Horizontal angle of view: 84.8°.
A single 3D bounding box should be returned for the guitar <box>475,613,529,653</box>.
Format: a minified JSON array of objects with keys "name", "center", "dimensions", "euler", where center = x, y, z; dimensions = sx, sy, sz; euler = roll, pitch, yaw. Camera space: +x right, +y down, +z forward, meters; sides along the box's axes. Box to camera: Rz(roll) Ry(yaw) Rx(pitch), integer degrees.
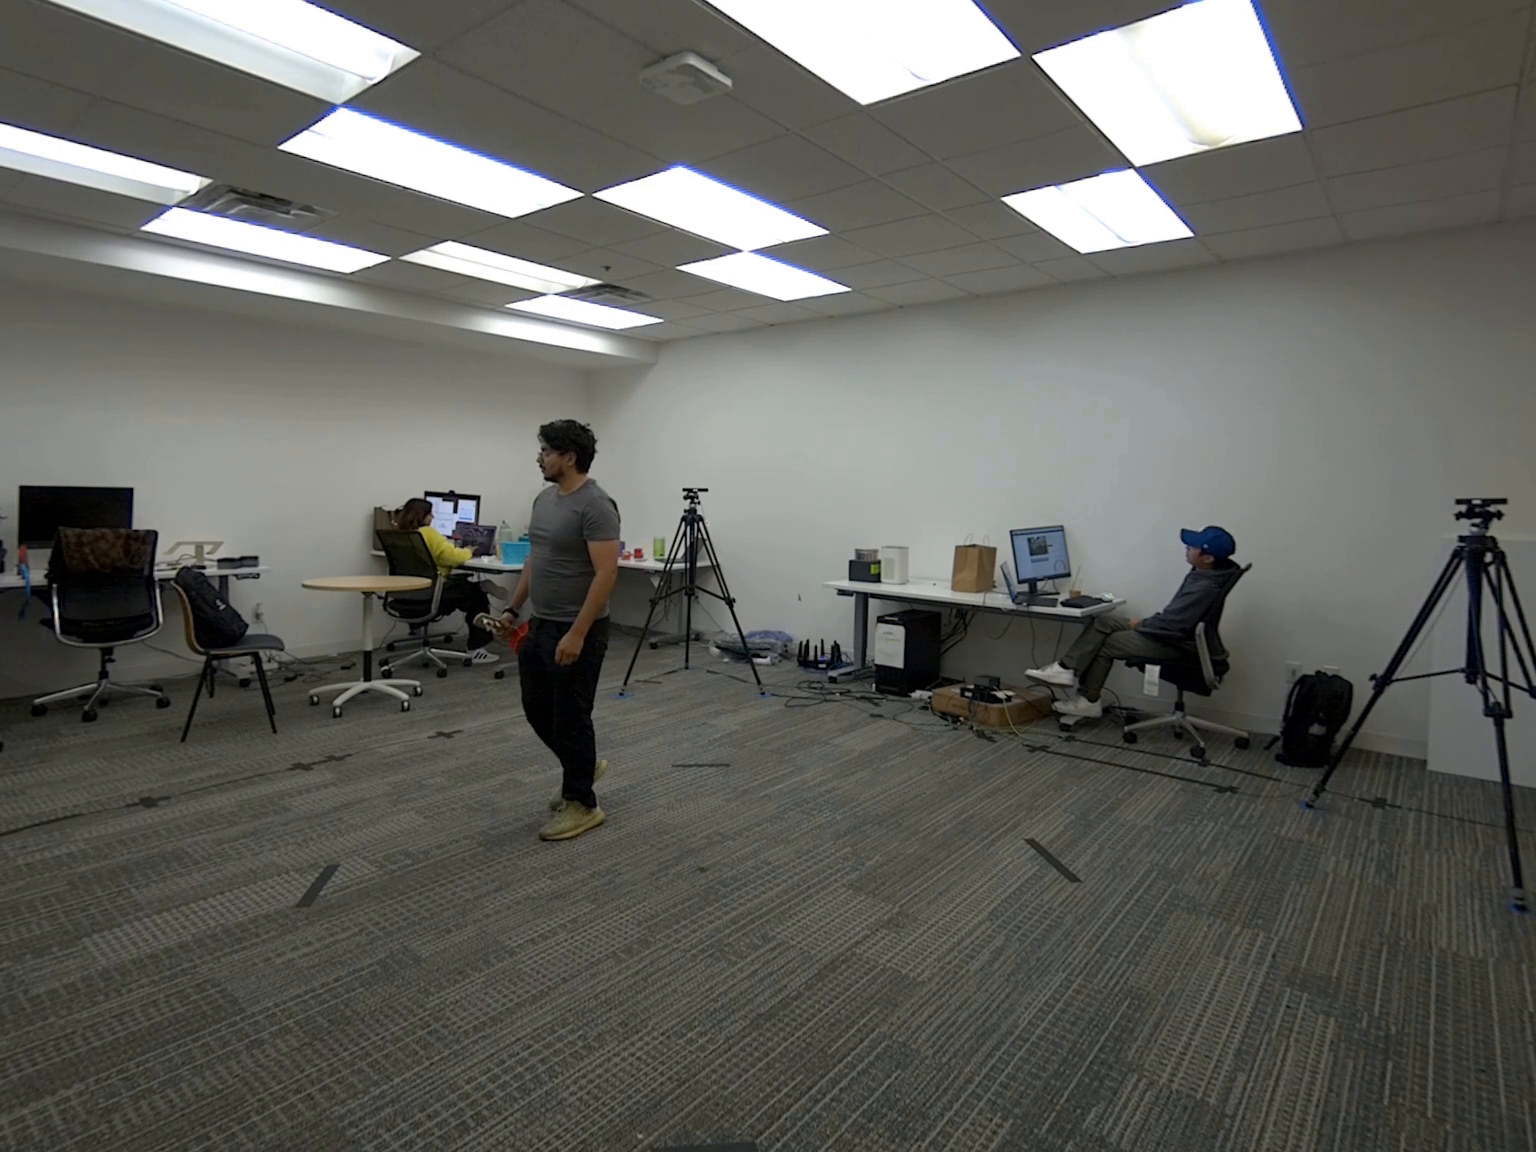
[{"name":"guitar","center":[-1.079,0.281,3.595],"dimensions":[0.073,0.192,0.480],"euler":[39,13,32]}]
